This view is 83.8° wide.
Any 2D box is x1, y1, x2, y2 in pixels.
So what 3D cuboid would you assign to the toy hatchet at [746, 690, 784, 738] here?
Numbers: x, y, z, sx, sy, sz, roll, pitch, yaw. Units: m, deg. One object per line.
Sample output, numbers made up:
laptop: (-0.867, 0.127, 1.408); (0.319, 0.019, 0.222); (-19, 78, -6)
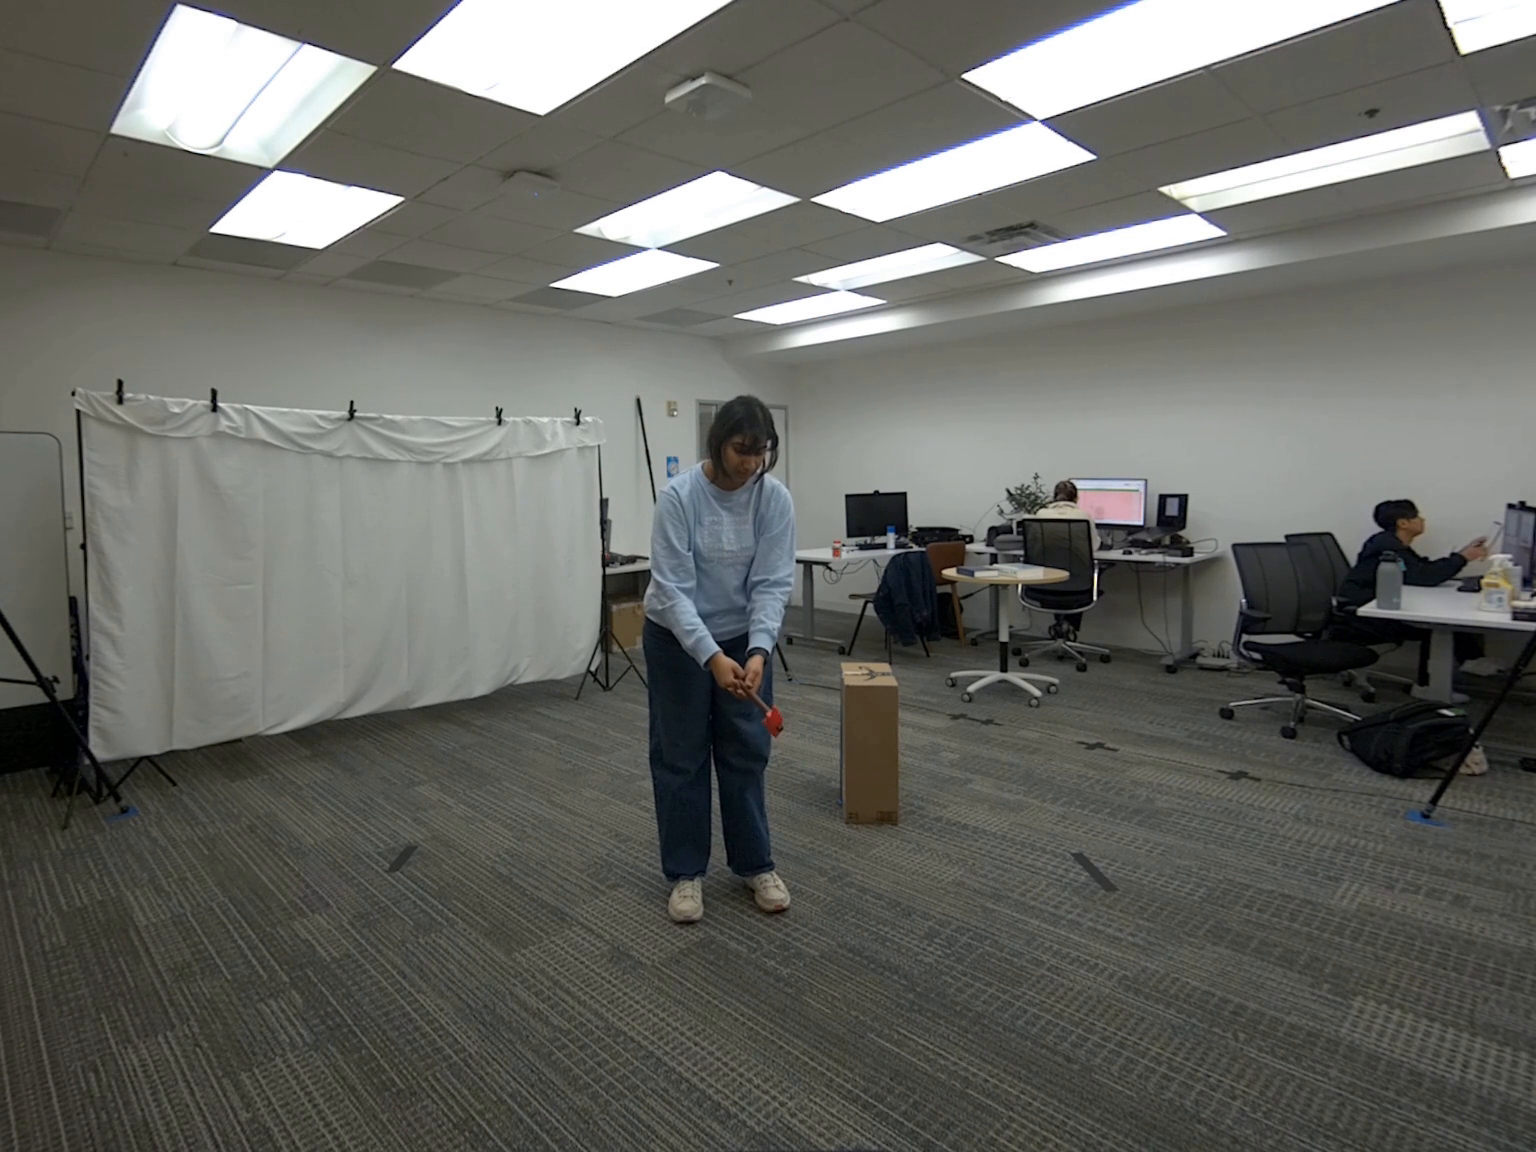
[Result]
toy hatchet: (-0.033, 0.356, 2.371); (0.029, 0.127, 0.280); (-27, 29, -20)
